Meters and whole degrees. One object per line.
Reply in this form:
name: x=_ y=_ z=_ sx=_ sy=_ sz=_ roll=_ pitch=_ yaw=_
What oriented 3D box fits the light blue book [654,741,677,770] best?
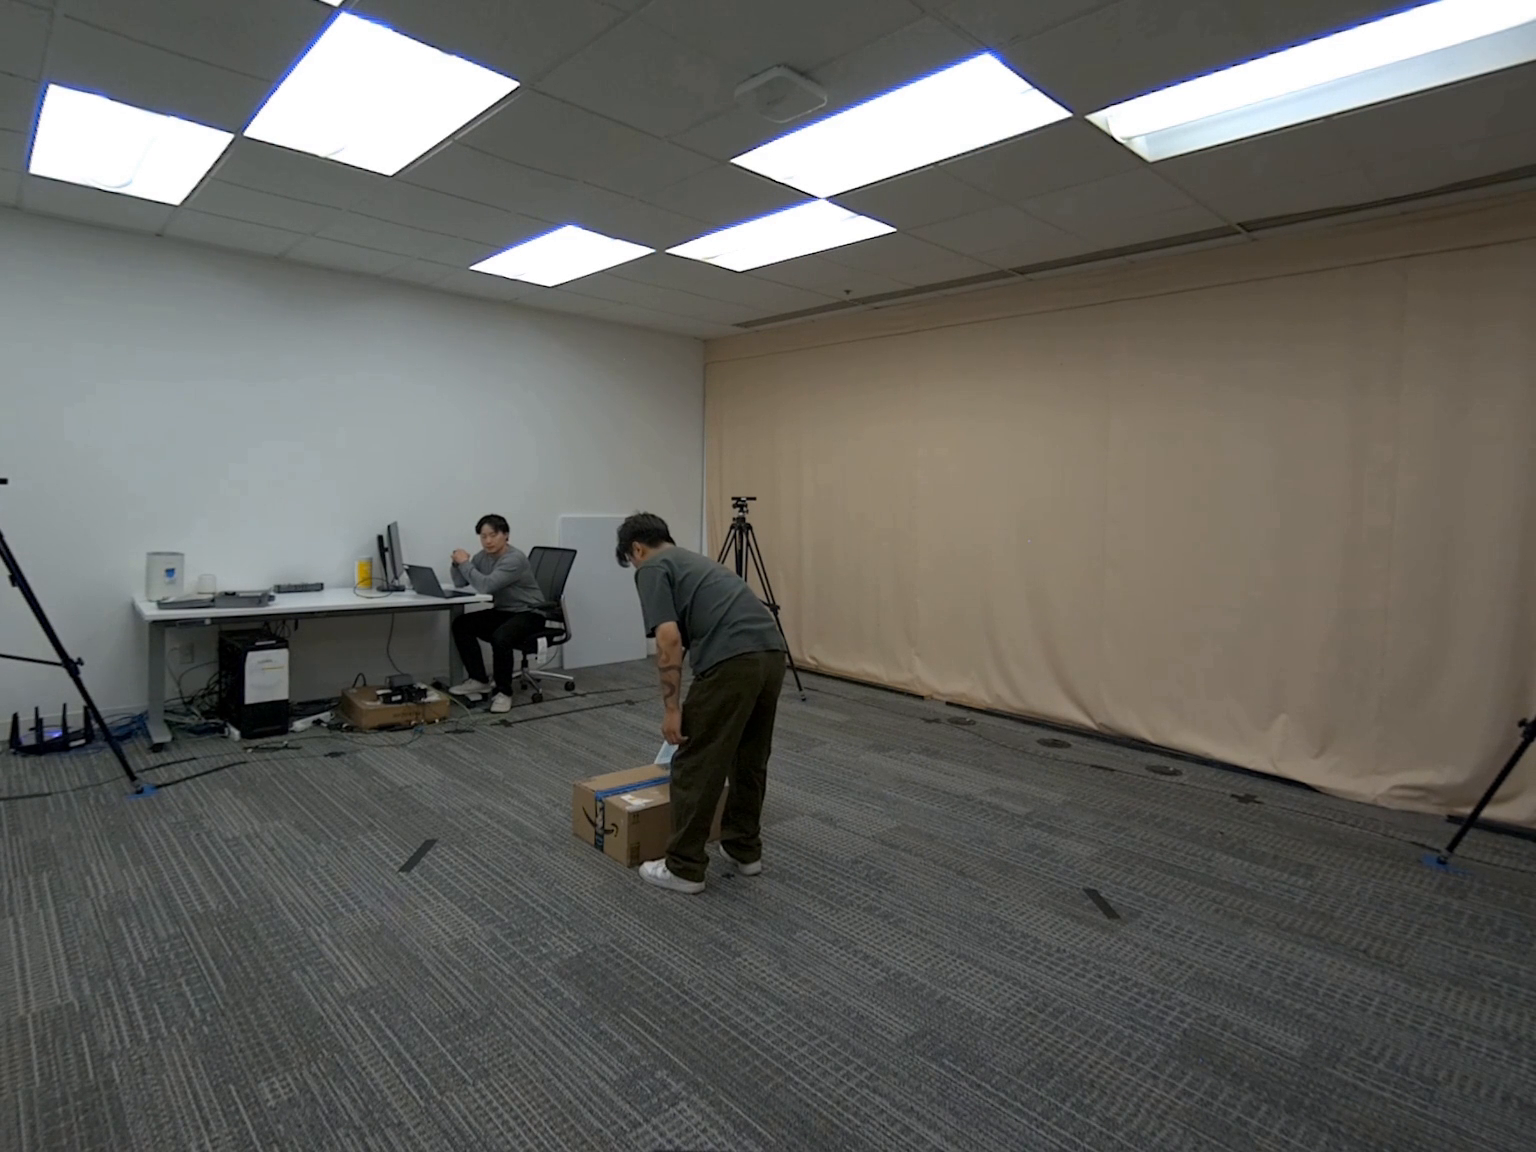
light blue book: x=-0.361 y=0.693 z=3.445 sx=0.058 sy=0.193 sz=0.263 roll=34 pitch=-27 yaw=-17
